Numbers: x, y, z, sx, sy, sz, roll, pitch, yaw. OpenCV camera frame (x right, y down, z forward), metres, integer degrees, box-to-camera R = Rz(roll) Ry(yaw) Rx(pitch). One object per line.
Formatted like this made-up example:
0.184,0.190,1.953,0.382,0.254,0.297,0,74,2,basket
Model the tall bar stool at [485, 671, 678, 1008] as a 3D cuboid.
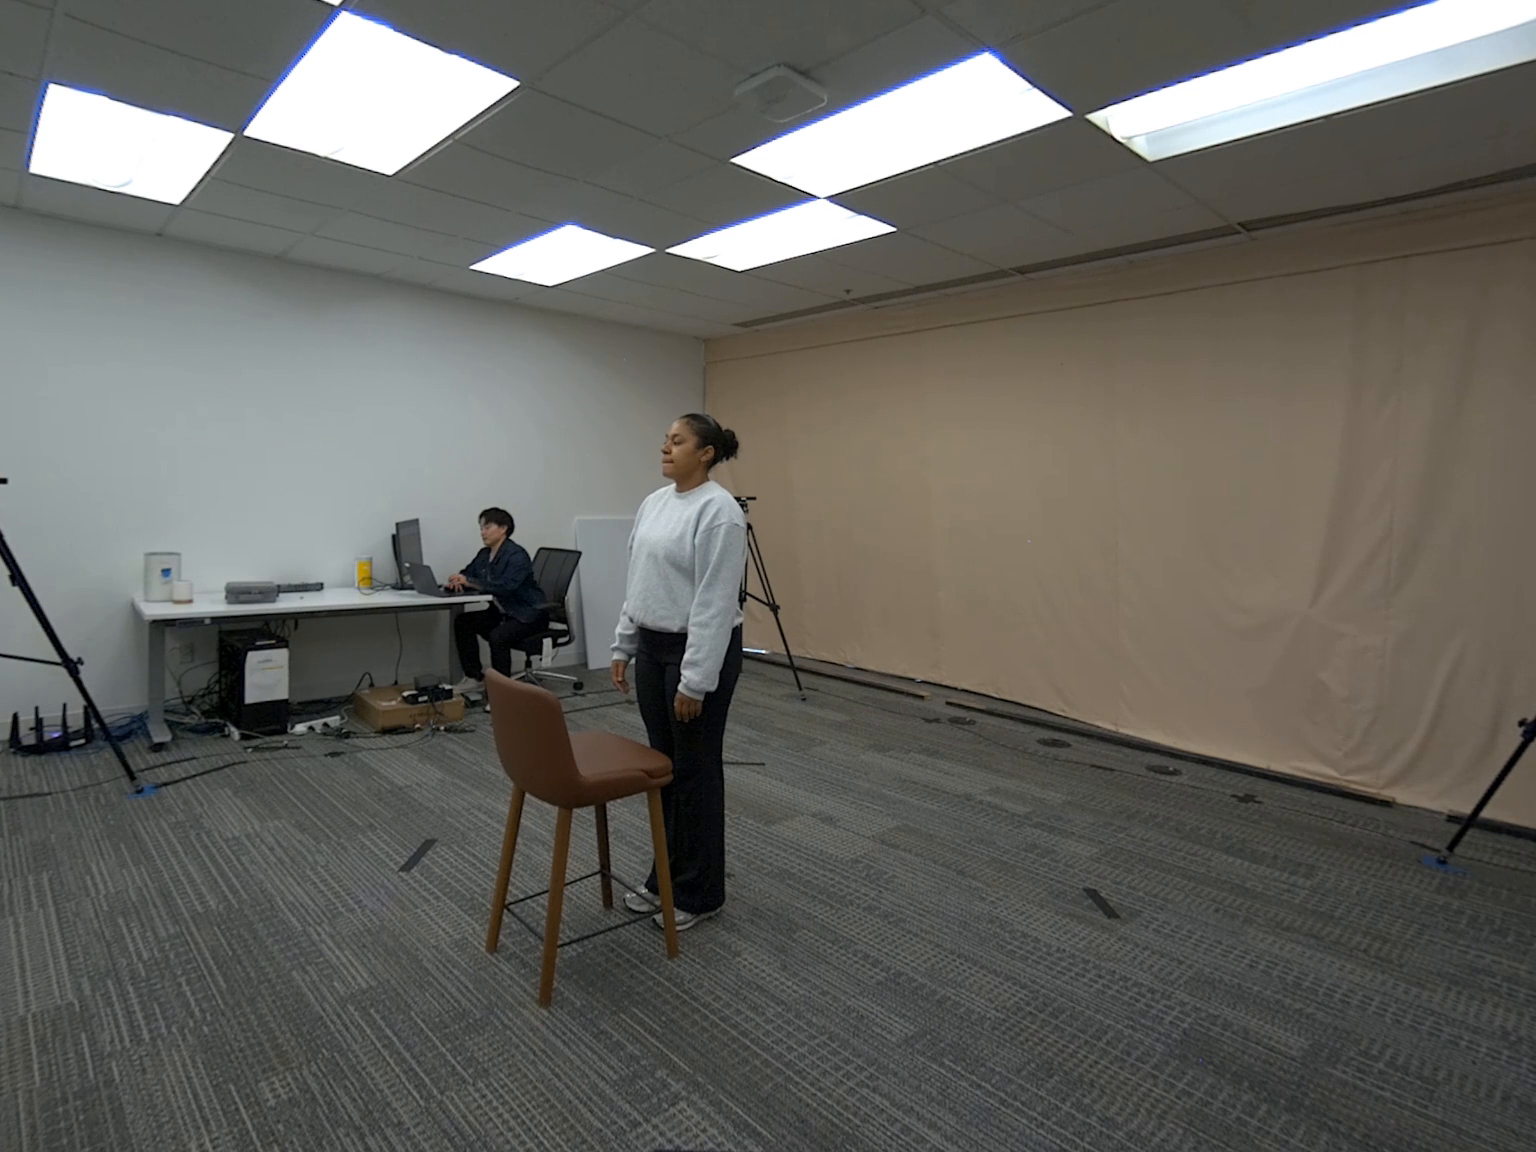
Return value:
-0.566,0.708,2.536,0.457,0.887,0.468,-4,5,-41,tall bar stool
